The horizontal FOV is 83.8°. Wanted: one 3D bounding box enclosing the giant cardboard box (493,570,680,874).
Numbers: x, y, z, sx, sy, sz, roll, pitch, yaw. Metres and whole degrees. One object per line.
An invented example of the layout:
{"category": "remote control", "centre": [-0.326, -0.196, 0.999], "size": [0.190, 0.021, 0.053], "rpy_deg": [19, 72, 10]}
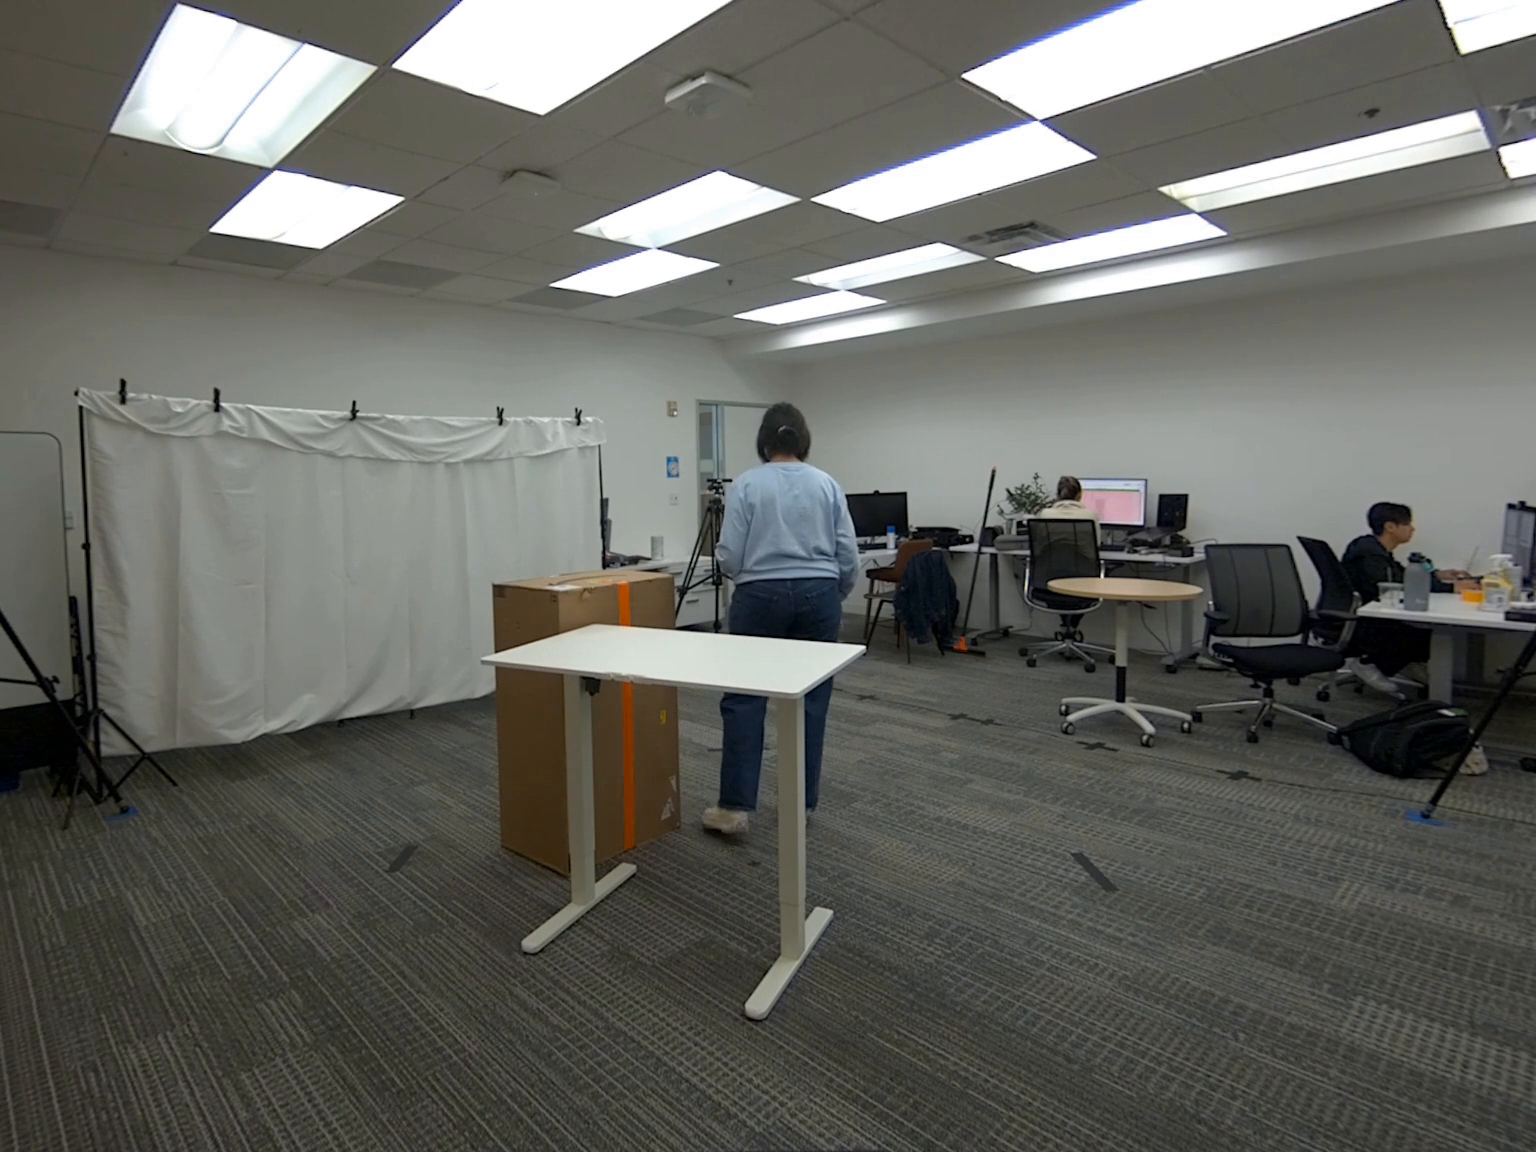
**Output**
{"category": "giant cardboard box", "centre": [-0.700, 0.523, 3.339], "size": [0.439, 1.022, 0.562], "rpy_deg": [2, 5, 40]}
